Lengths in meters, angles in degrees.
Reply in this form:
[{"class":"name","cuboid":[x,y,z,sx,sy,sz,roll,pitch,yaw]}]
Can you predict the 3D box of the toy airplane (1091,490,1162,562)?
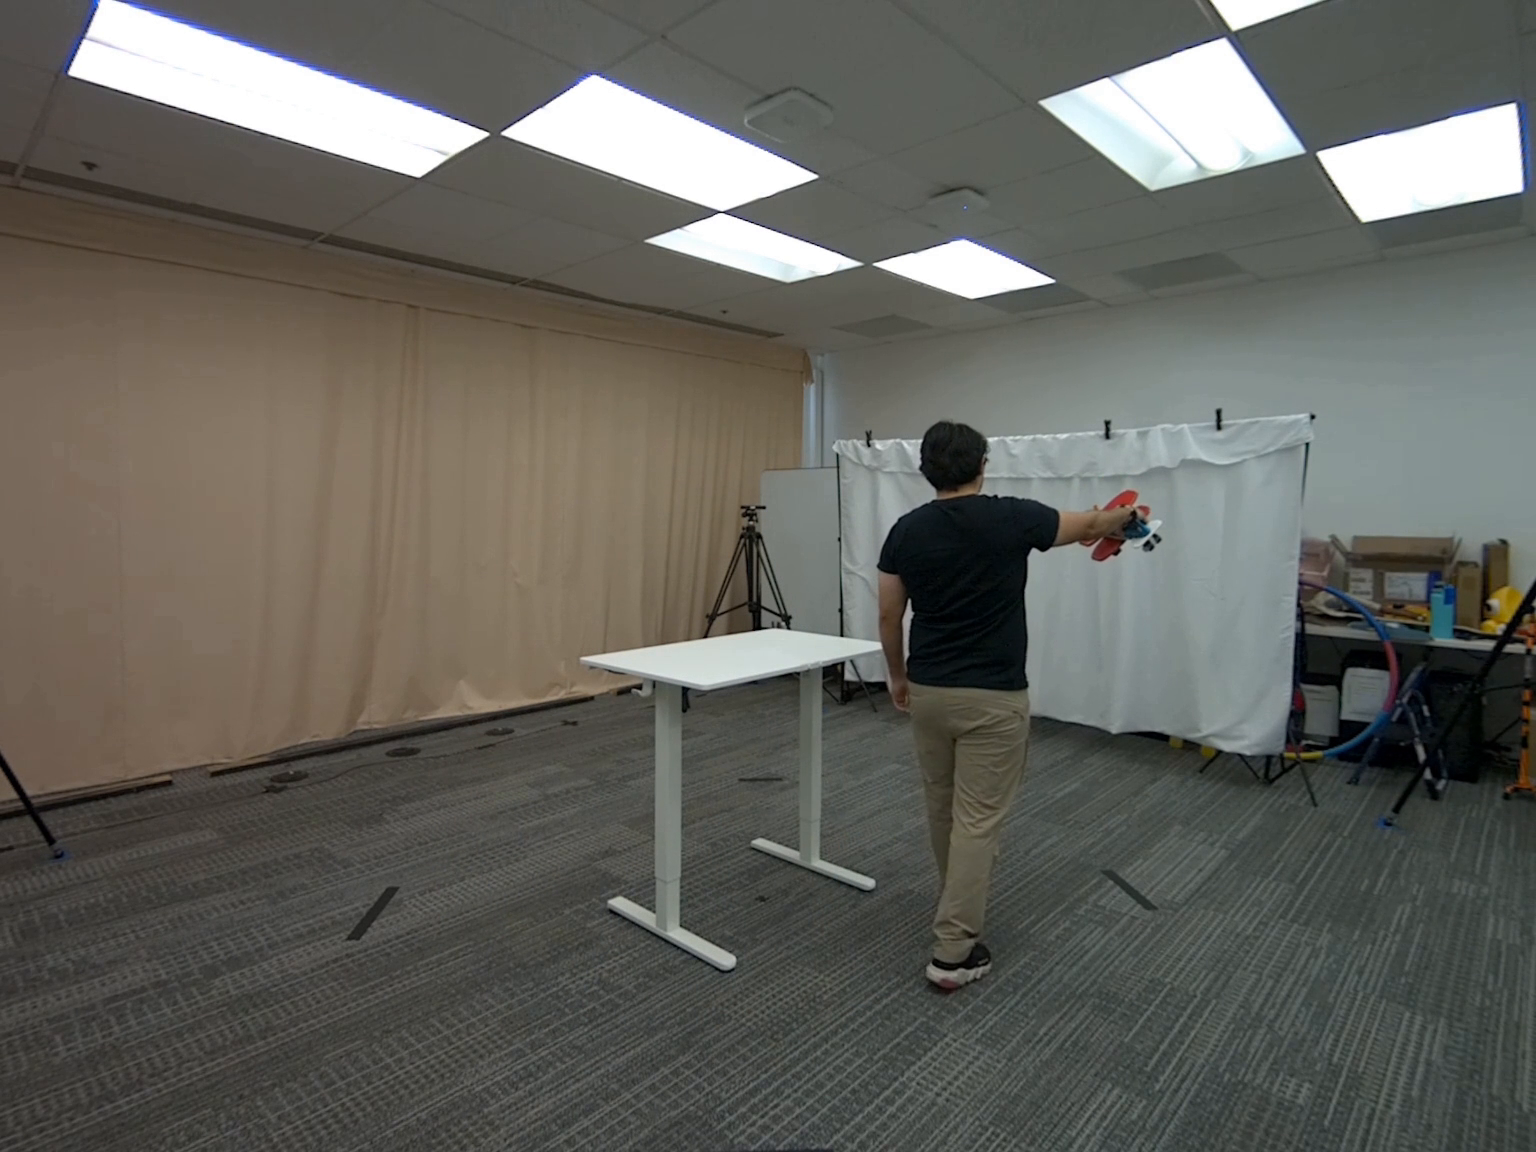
[{"class":"toy airplane","cuboid":[1.236,-0.172,2.854,0.249,0.155,0.262,-50,7,-30]}]
